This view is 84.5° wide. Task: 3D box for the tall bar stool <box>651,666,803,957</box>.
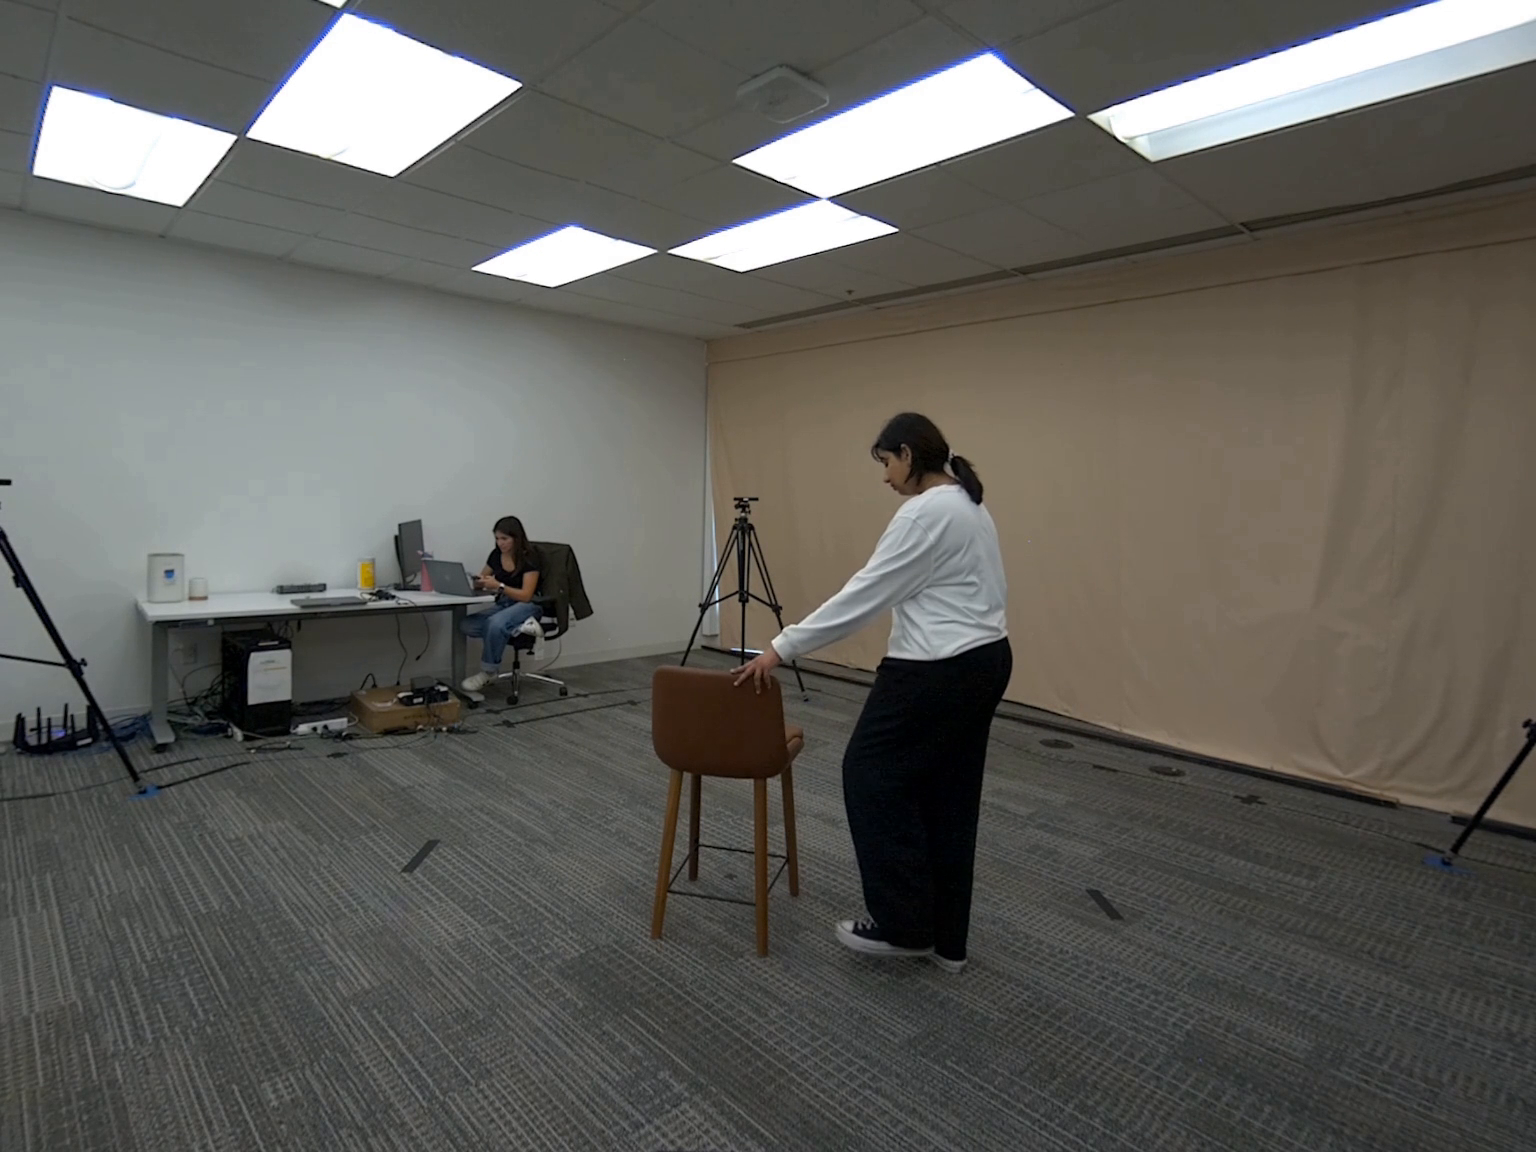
[{"bbox_3d":[-0.130,0.703,2.791,0.462,0.886,0.463,2,5,15],"label":"tall bar stool"}]
